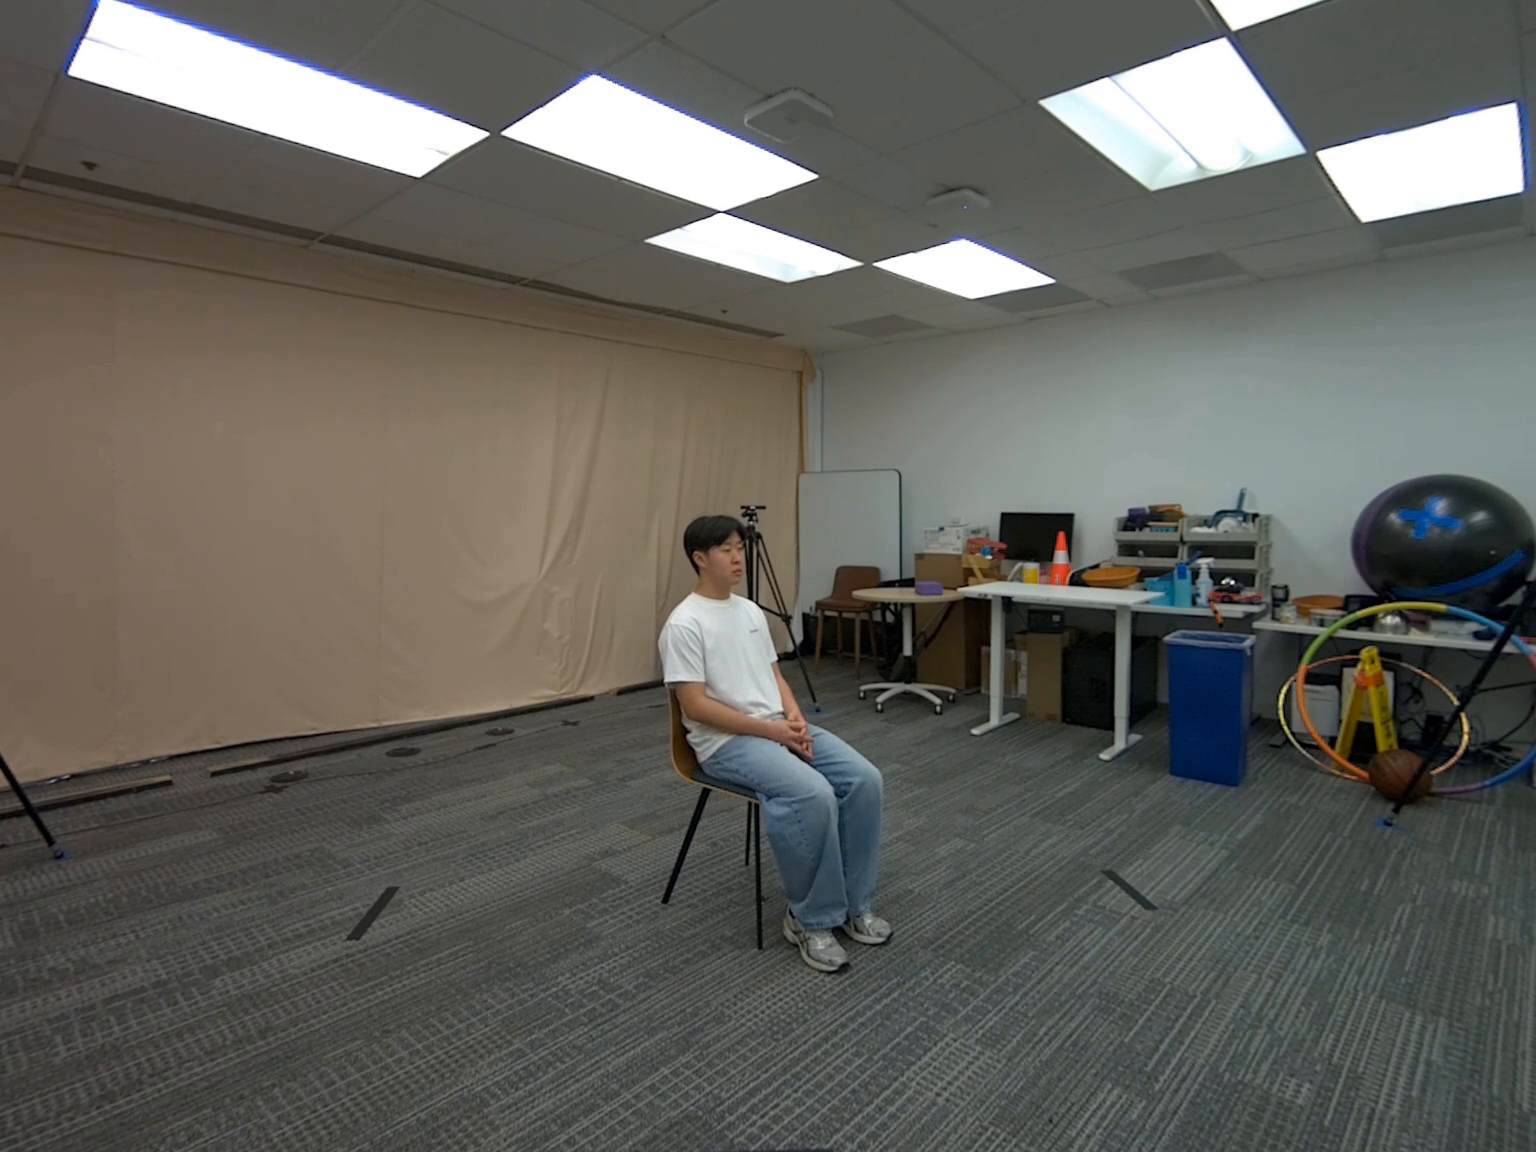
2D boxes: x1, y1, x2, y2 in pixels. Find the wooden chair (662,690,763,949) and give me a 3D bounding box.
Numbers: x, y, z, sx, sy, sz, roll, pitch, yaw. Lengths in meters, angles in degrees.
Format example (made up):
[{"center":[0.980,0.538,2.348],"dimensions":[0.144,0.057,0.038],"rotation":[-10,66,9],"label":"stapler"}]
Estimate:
[{"center":[-0.055,0.720,2.930],"dimensions":[0.539,0.877,0.463],"rotation":[-4,0,42],"label":"wooden chair"}]
